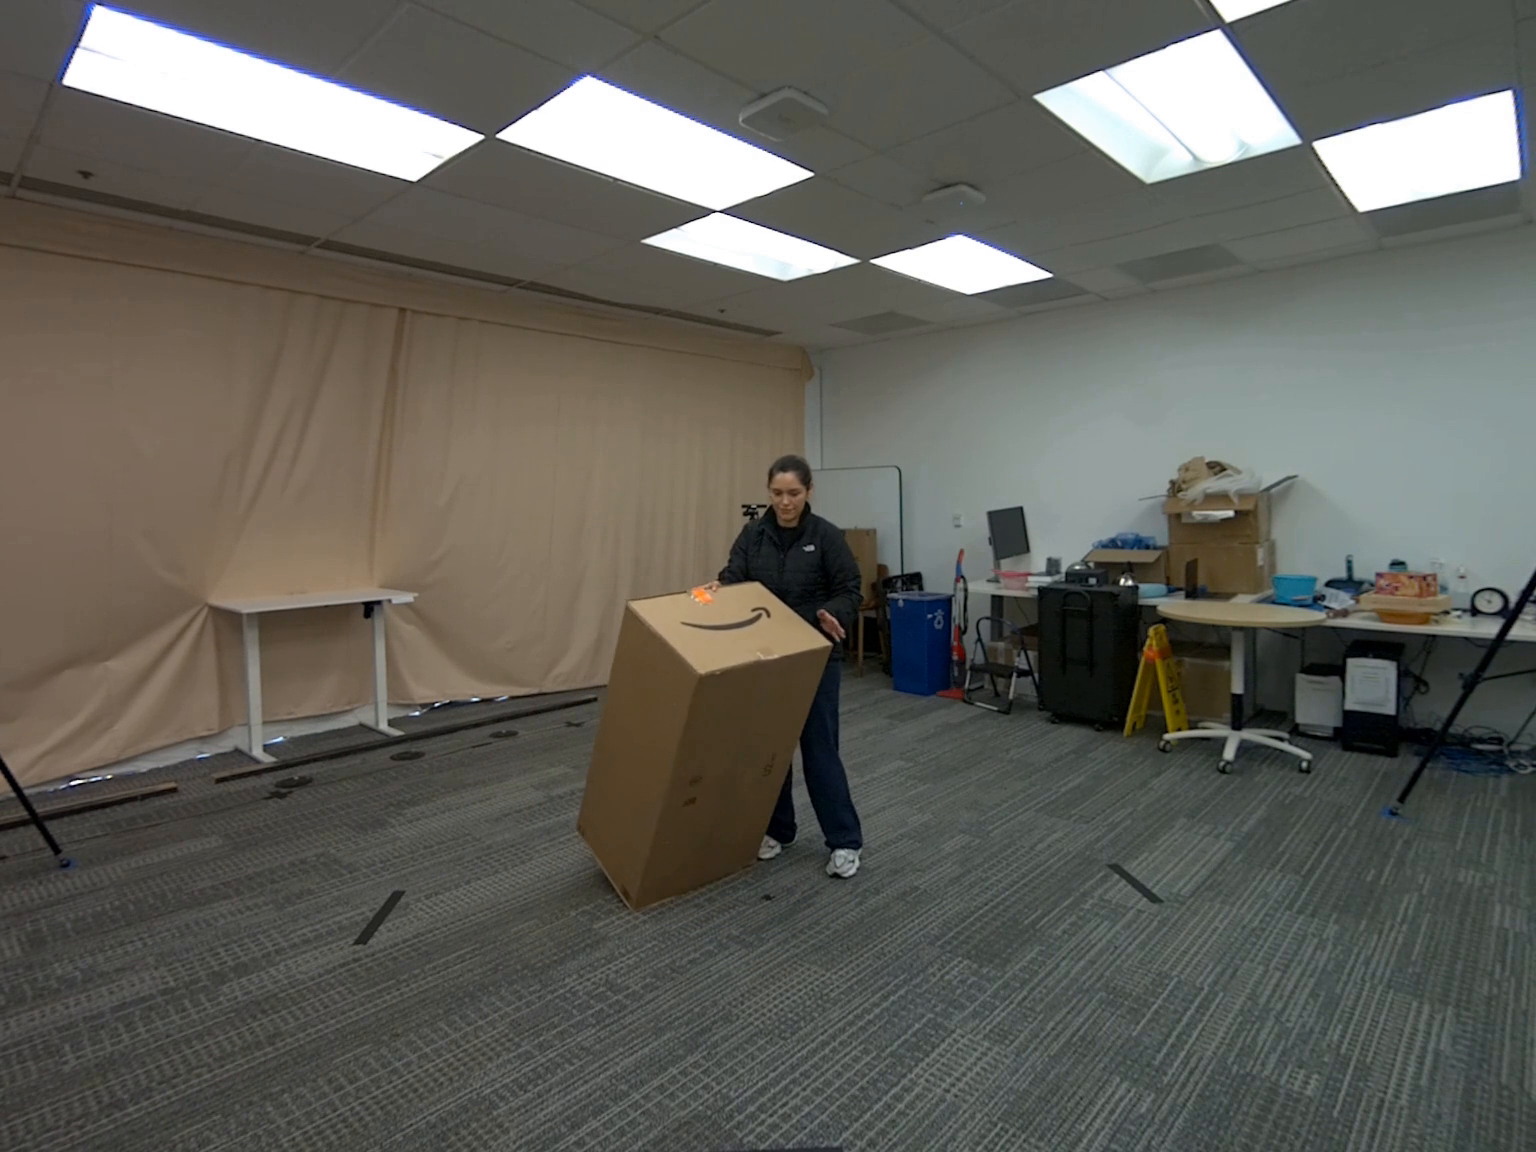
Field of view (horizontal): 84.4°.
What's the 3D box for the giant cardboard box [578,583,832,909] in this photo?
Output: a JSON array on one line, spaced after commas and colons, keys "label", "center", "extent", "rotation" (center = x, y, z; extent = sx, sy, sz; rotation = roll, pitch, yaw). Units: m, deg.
[{"label": "giant cardboard box", "center": [-0.245, 0.592, 2.997], "extent": [0.560, 1.019, 0.442], "rotation": [-5, 33, -40]}]
